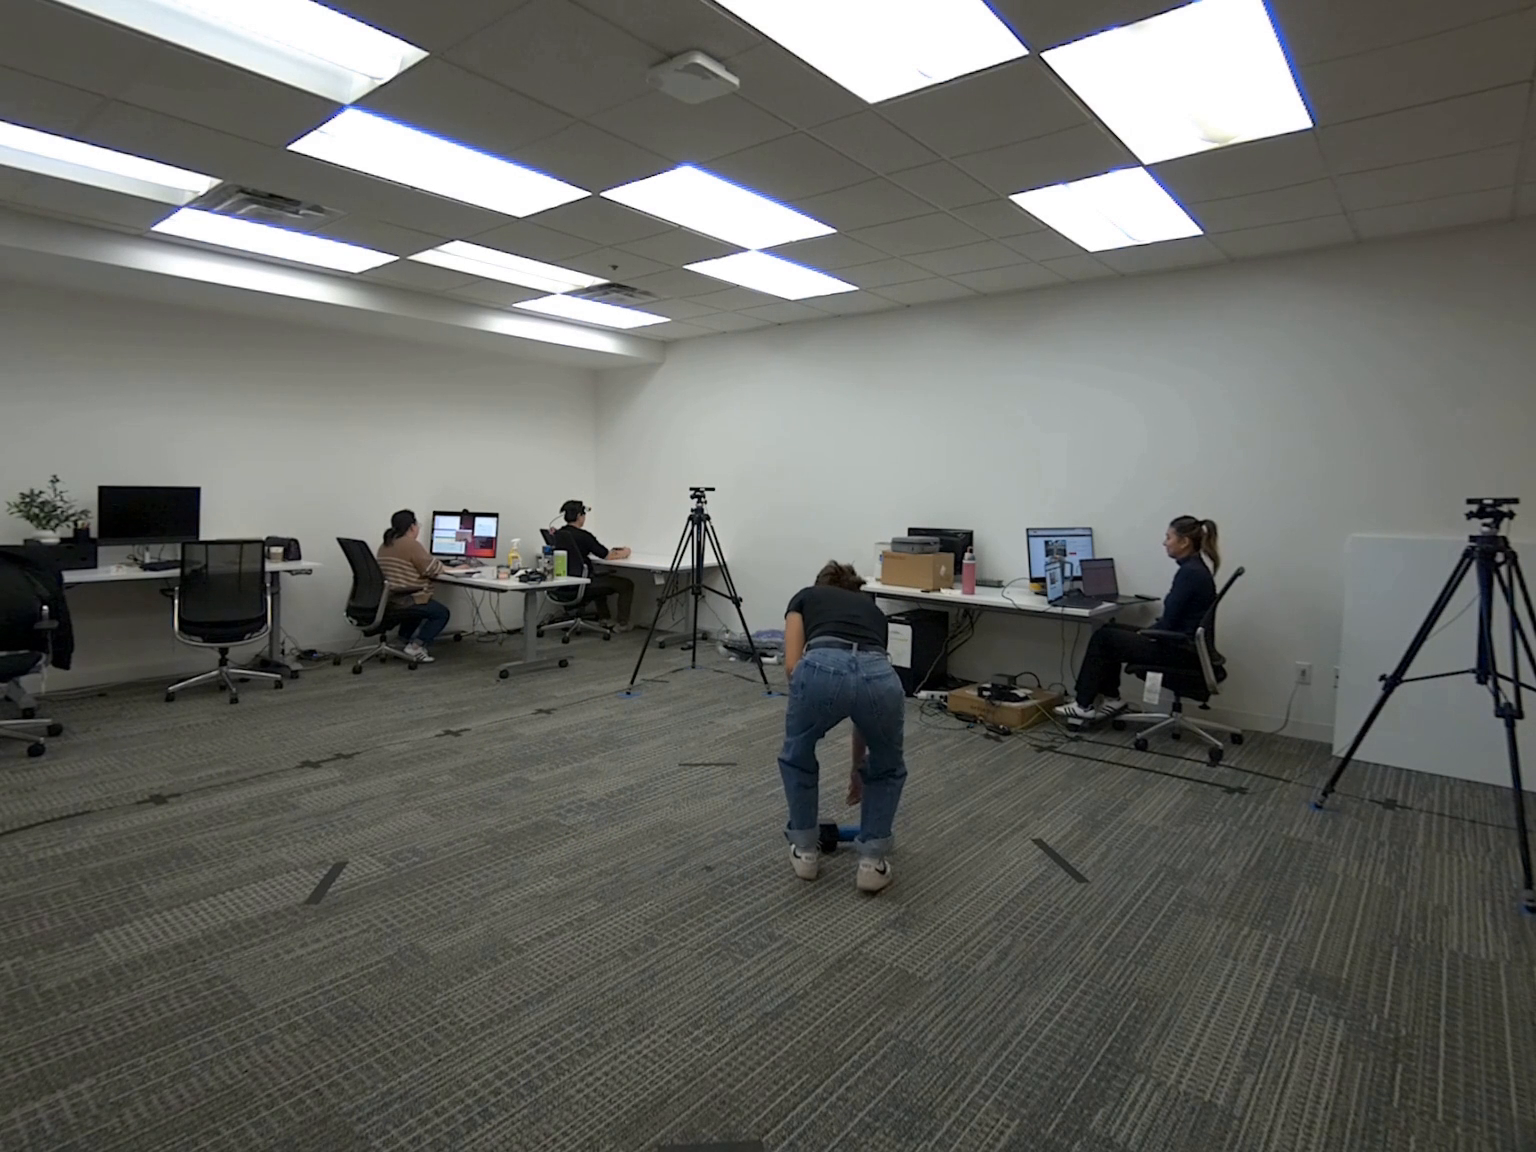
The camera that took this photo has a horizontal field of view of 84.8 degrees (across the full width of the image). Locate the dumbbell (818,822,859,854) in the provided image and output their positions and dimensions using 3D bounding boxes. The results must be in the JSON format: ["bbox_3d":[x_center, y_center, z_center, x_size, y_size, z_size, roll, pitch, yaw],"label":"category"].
[{"bbox_3d":[0.316,1.000,3.322,0.291,0.120,0.112,0,33,-7],"label":"dumbbell"}]
